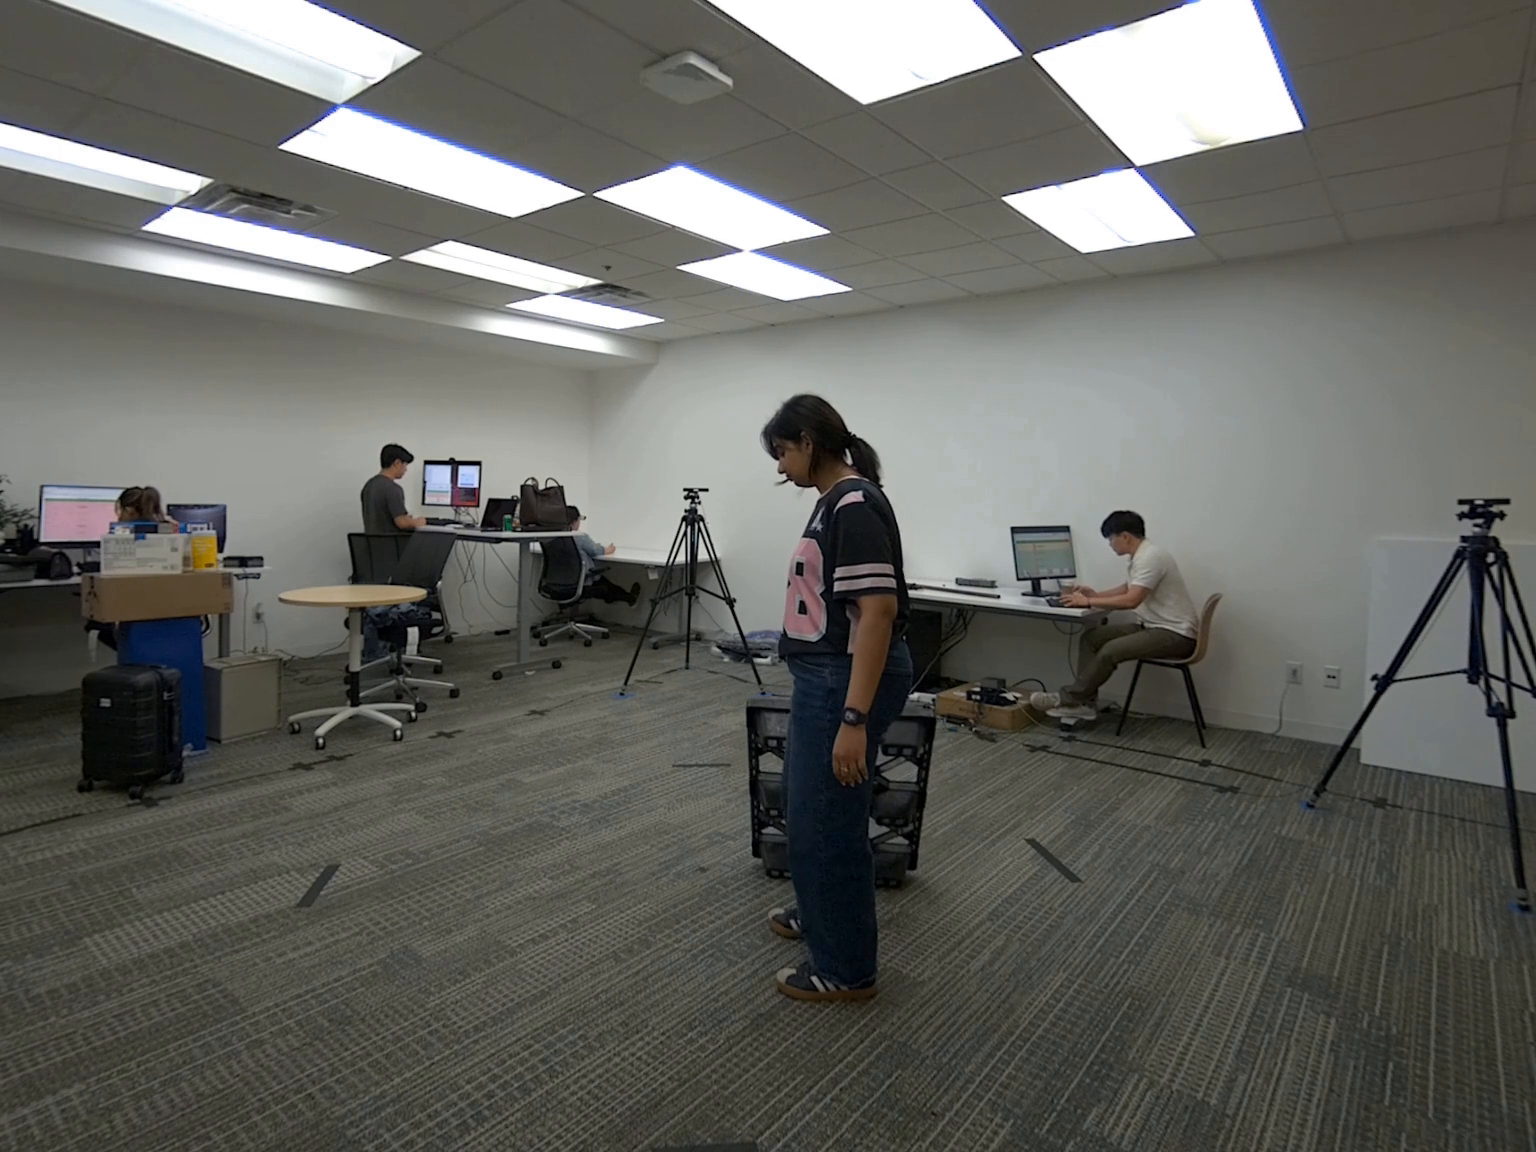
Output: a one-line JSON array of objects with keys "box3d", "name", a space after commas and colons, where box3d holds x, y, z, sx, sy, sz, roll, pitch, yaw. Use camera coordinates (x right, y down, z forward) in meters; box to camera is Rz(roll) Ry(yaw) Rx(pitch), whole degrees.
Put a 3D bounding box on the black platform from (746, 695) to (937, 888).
[{"box3d": [0.229, 0.760, 2.875, 0.610, 0.783, 0.146, 3, 35, 7], "name": "black platform"}]
